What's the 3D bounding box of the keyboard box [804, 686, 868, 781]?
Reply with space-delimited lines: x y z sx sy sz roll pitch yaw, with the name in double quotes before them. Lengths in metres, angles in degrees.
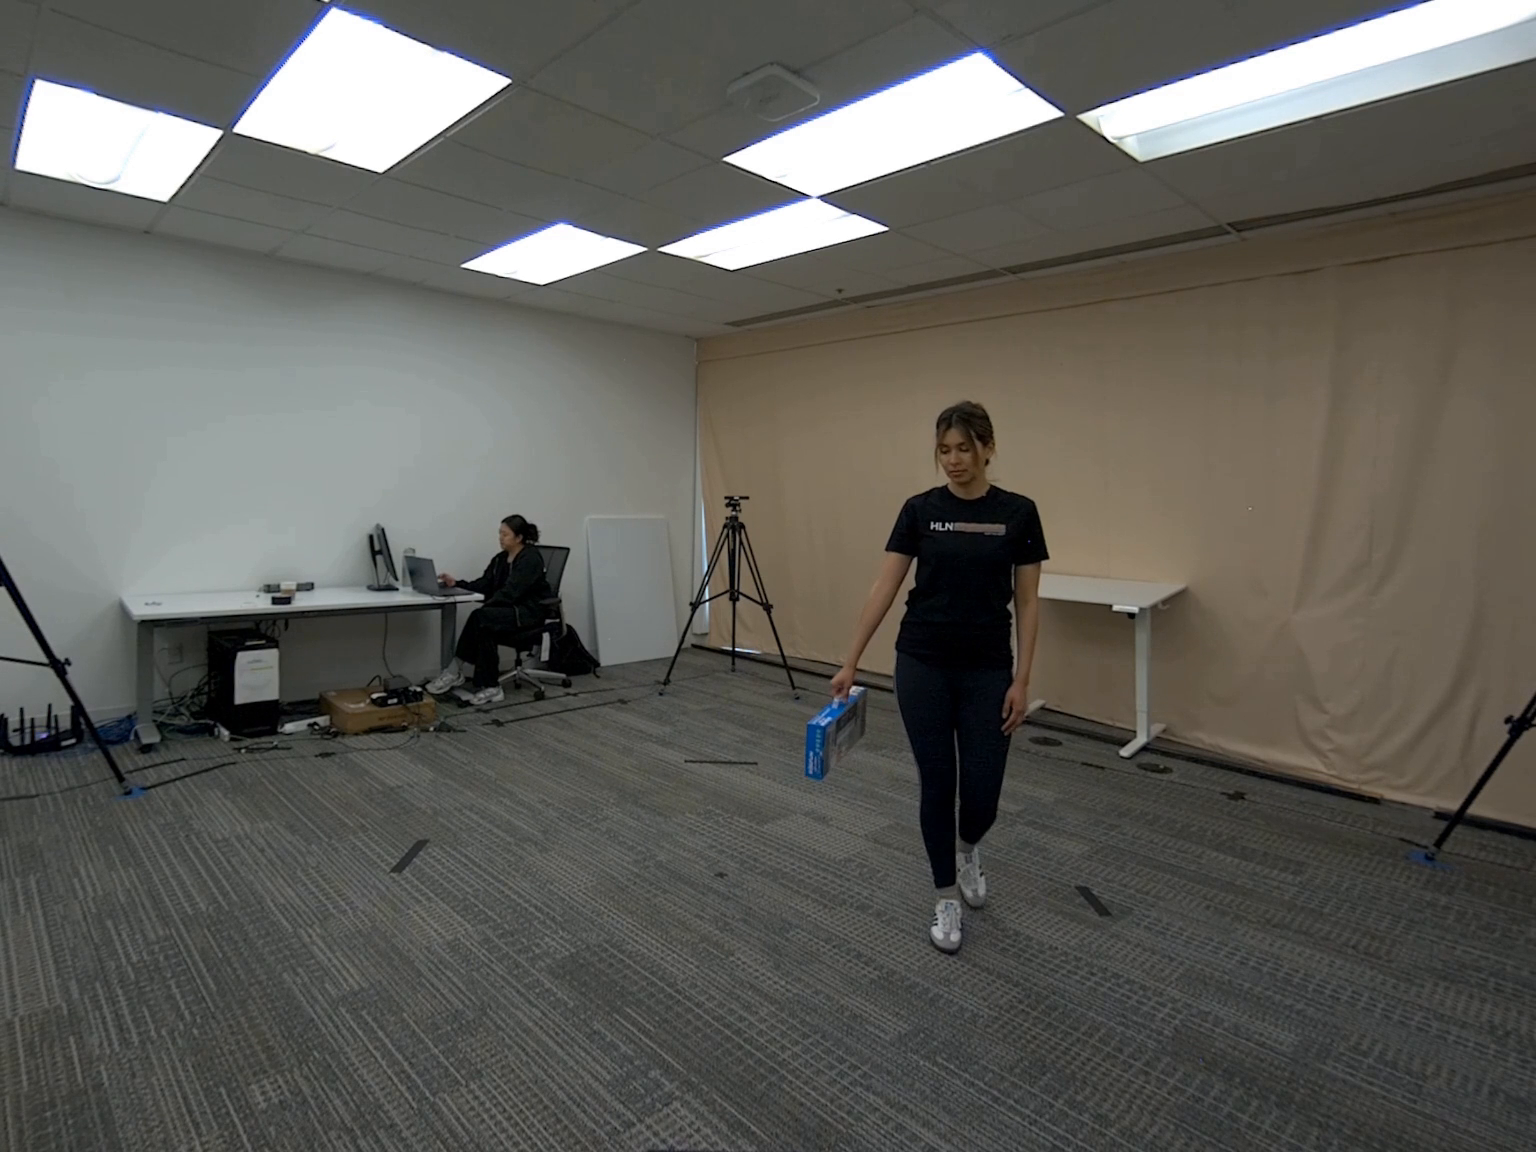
"keyboard box" 0.227 0.506 2.757 0.060 0.175 0.431 6 11 24
